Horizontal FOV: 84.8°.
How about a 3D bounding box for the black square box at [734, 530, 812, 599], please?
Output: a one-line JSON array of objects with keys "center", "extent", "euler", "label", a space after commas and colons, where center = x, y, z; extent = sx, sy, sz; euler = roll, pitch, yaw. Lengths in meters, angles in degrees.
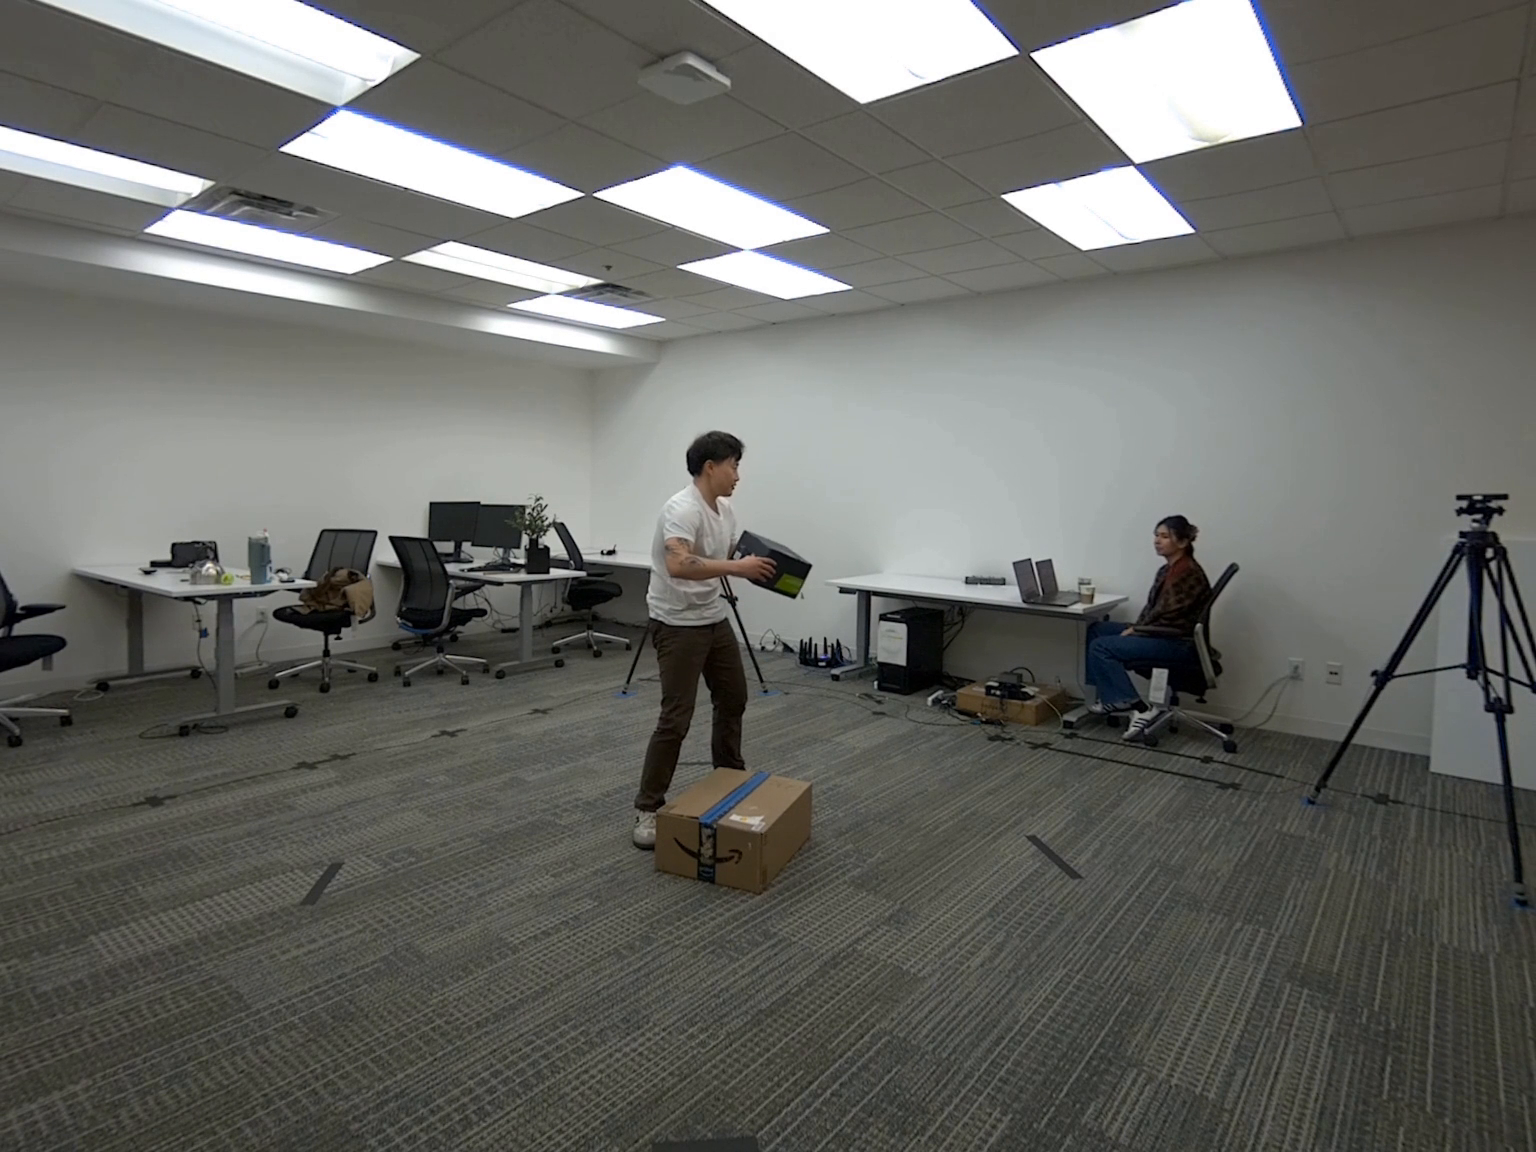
[{"center": [0.001, -0.042, 3.384], "extent": [0.219, 0.155, 0.226], "euler": [20, 10, -36], "label": "black square box"}]
